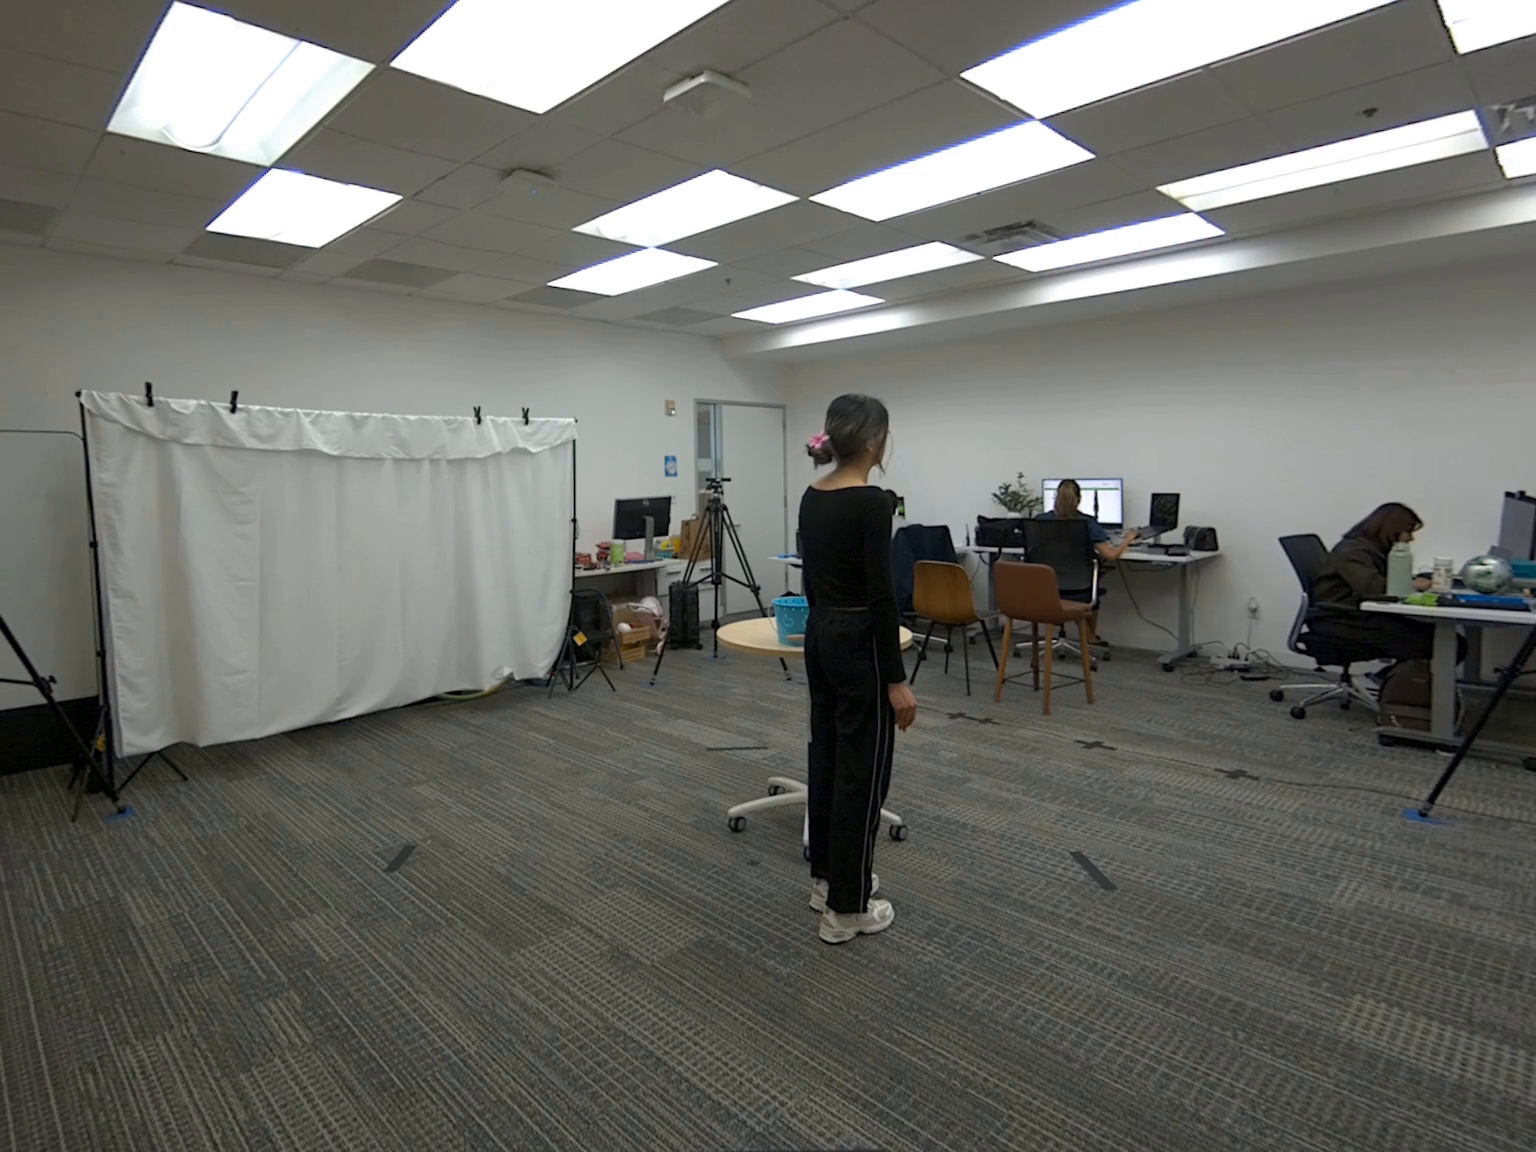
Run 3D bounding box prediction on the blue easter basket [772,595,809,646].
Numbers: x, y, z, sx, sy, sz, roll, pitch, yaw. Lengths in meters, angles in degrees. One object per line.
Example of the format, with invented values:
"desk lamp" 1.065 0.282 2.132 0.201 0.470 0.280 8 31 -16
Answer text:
"blue easter basket" 0.130 0.173 3.183 0.243 0.155 0.244 1 4 -2
